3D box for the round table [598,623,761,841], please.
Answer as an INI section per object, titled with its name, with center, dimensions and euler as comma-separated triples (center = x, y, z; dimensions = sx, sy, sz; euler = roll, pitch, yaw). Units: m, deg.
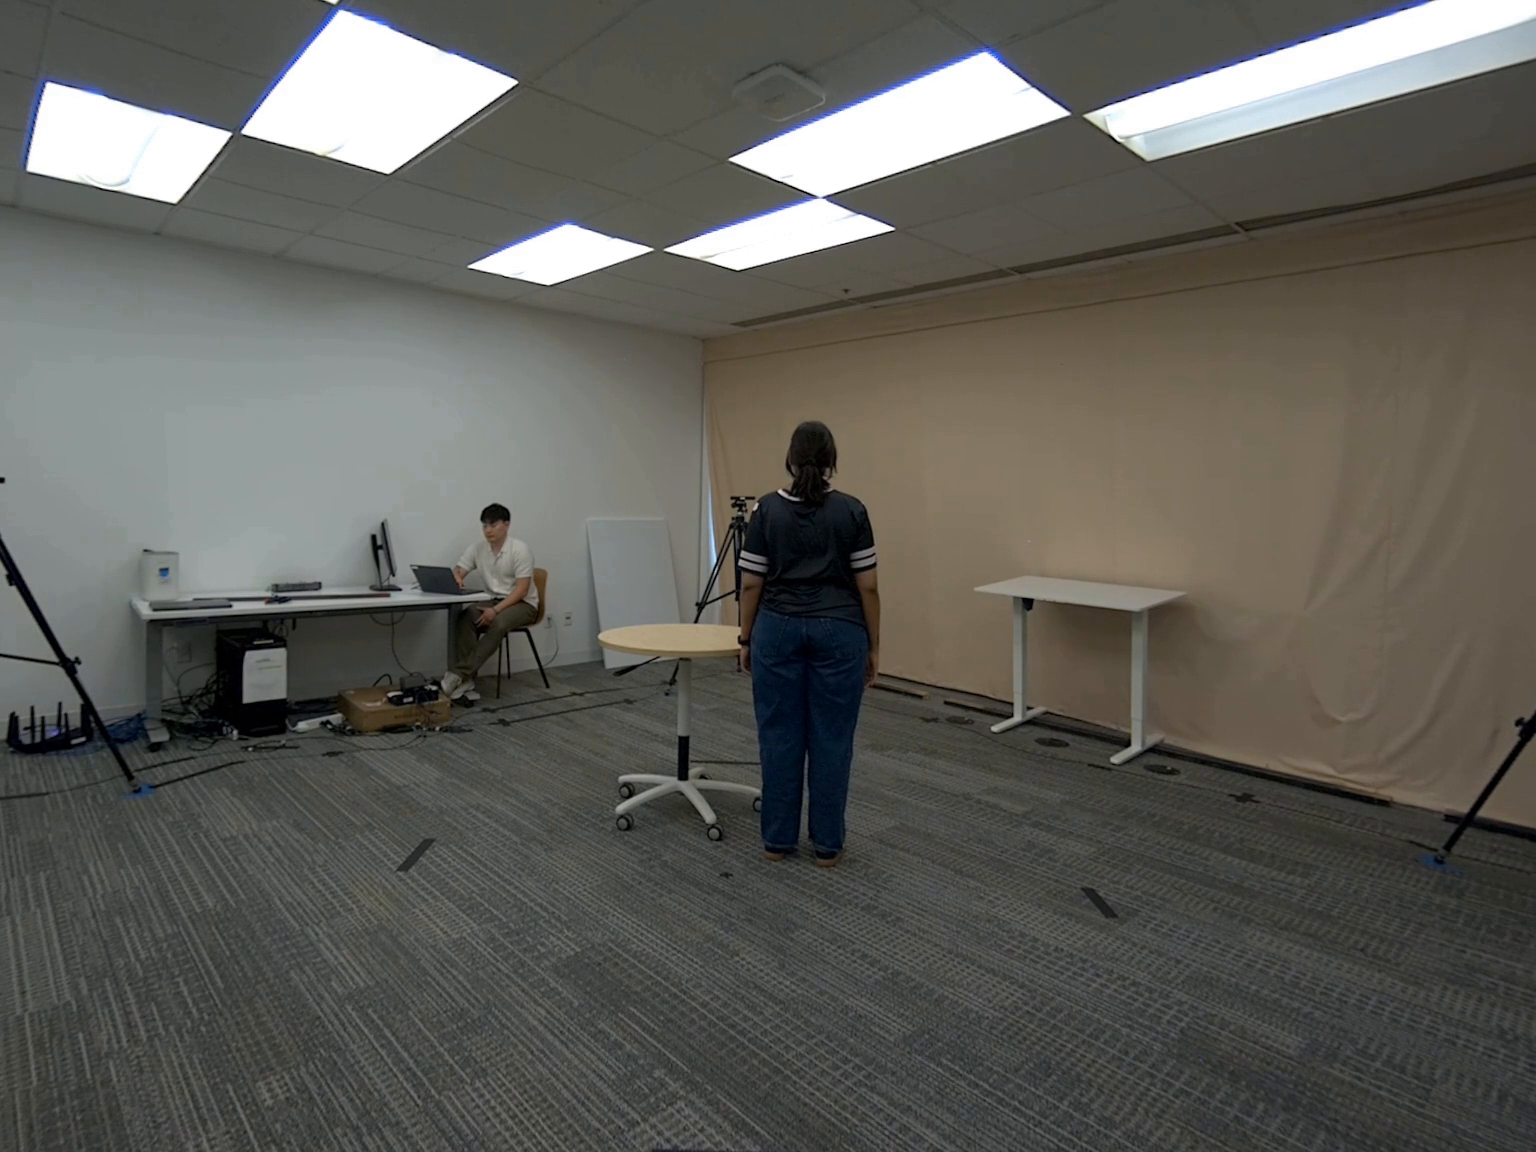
[round table]
center = -0.363, 0.652, 3.723
dimensions = 0.784, 0.785, 0.787
euler = 1, 4, -1
